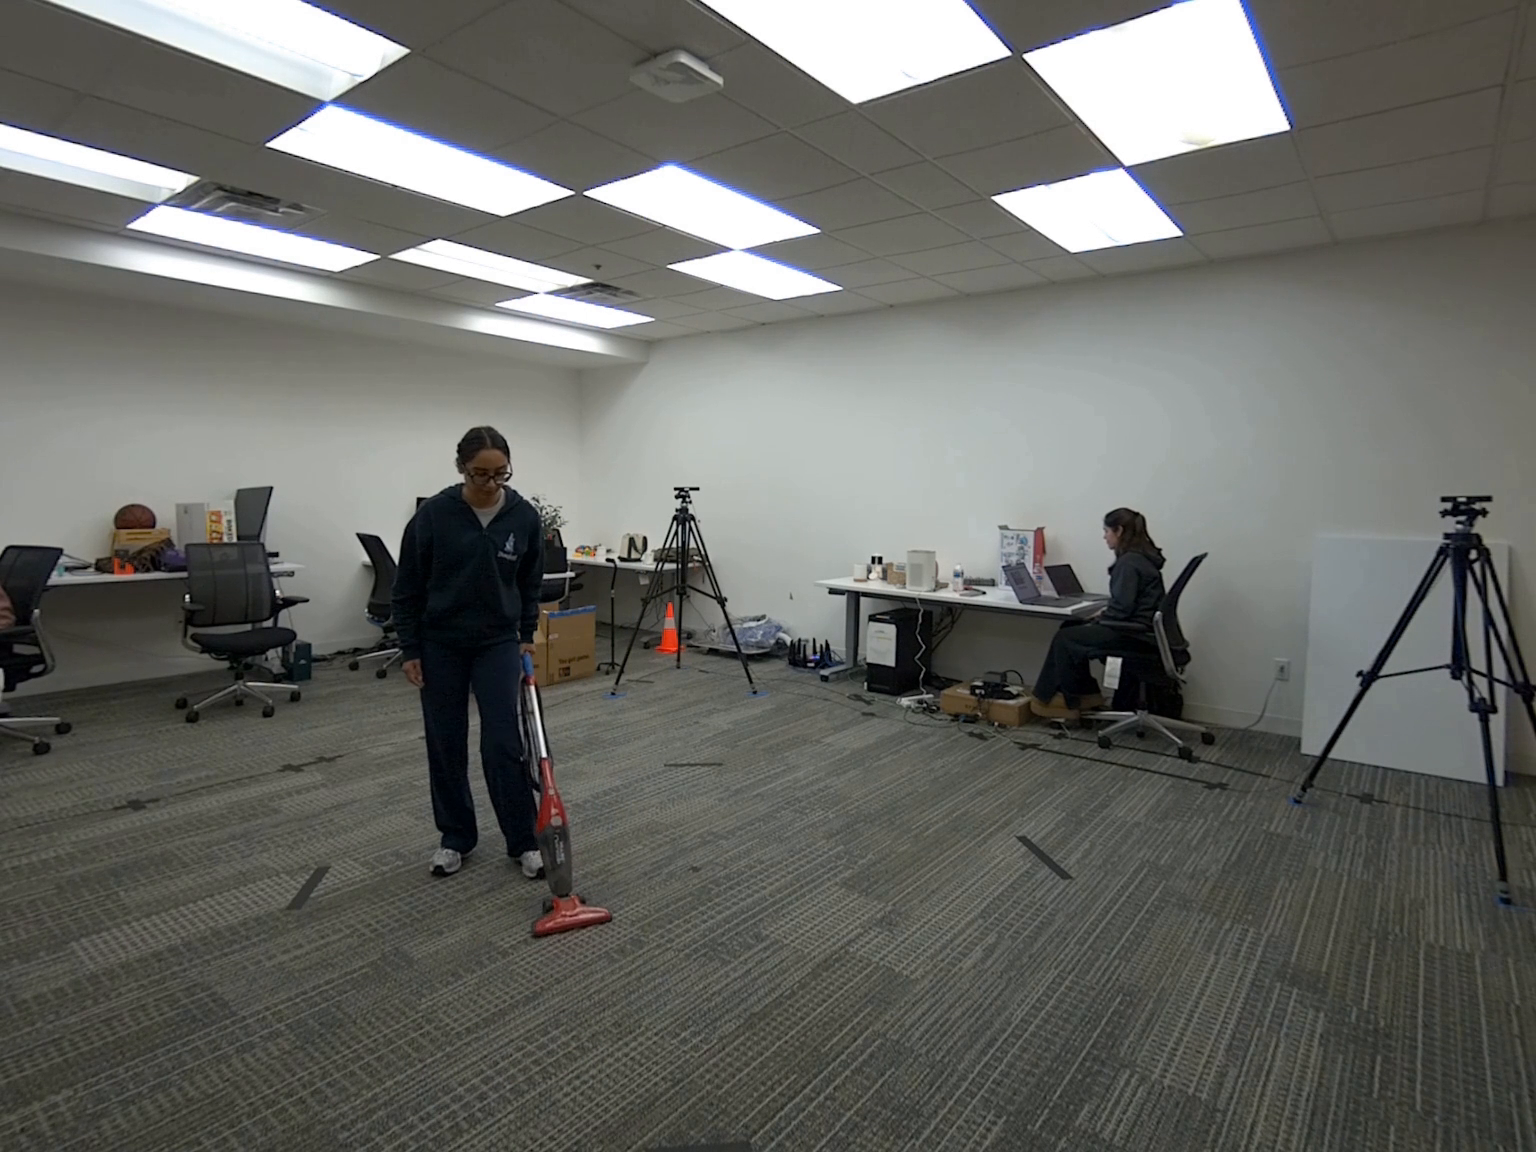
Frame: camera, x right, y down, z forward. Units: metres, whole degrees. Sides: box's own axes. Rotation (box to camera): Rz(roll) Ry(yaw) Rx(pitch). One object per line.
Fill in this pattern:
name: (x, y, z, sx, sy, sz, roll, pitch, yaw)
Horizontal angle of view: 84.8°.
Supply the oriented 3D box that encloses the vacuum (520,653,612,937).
vacuum: (-0.796, 0.680, 2.993, 0.245, 1.088, 0.143, 5, -43, -33)
